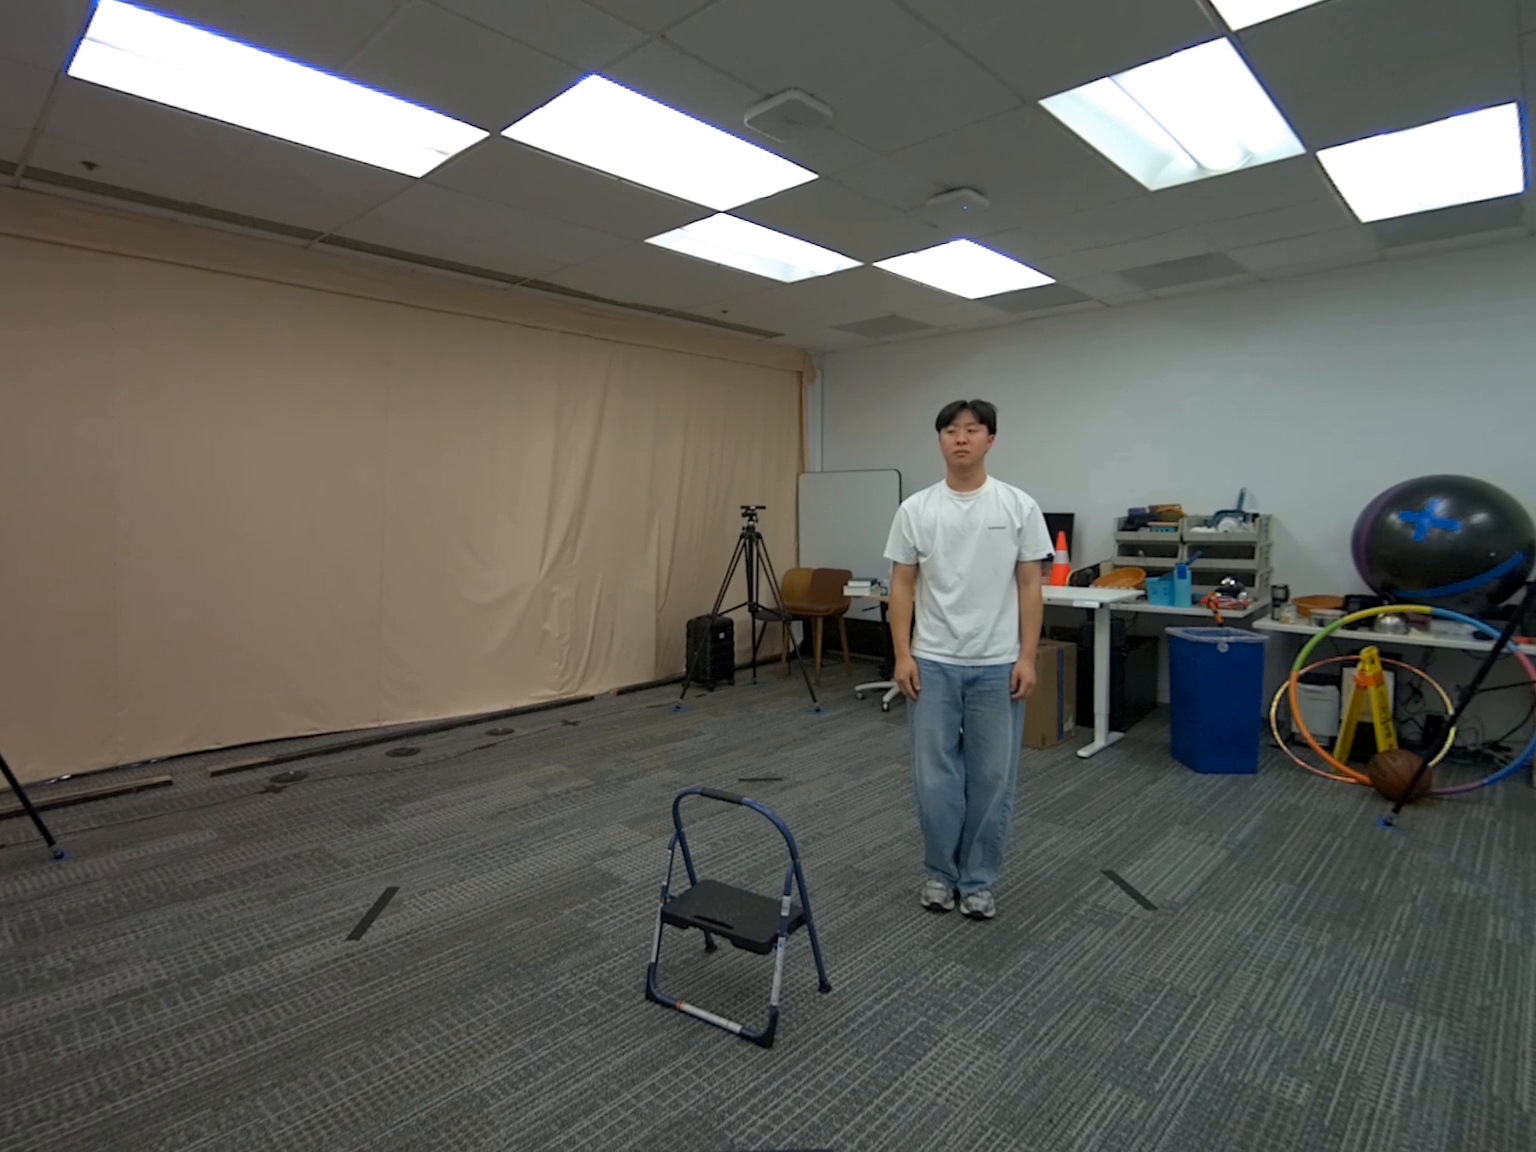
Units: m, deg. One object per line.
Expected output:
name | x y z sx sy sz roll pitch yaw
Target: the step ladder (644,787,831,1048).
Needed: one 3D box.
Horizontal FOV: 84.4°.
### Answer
step ladder | -0.087 0.892 2.387 0.443 0.605 0.340 2 4 32
